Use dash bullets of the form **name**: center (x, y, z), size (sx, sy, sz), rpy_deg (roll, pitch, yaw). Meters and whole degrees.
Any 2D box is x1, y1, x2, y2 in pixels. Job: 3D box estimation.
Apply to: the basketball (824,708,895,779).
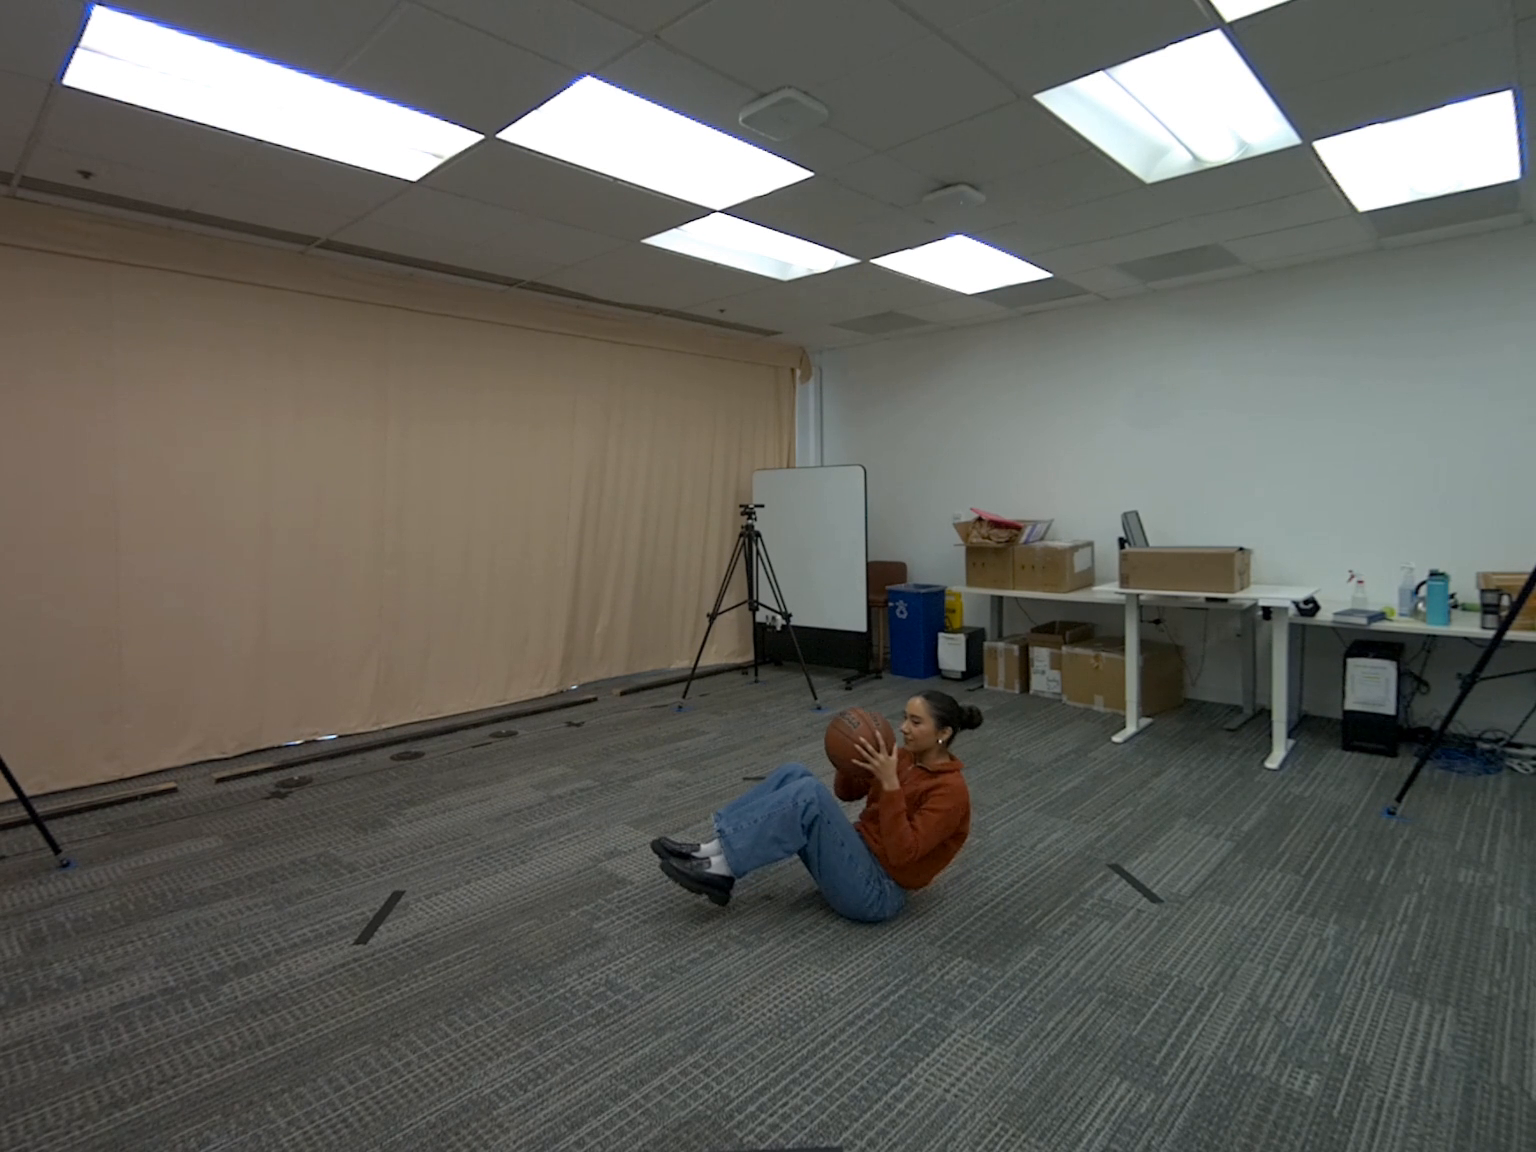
- **basketball**: center (0.325, 0.584, 2.843), size (0.236, 0.235, 0.237), rpy_deg (-1, 4, -2)
